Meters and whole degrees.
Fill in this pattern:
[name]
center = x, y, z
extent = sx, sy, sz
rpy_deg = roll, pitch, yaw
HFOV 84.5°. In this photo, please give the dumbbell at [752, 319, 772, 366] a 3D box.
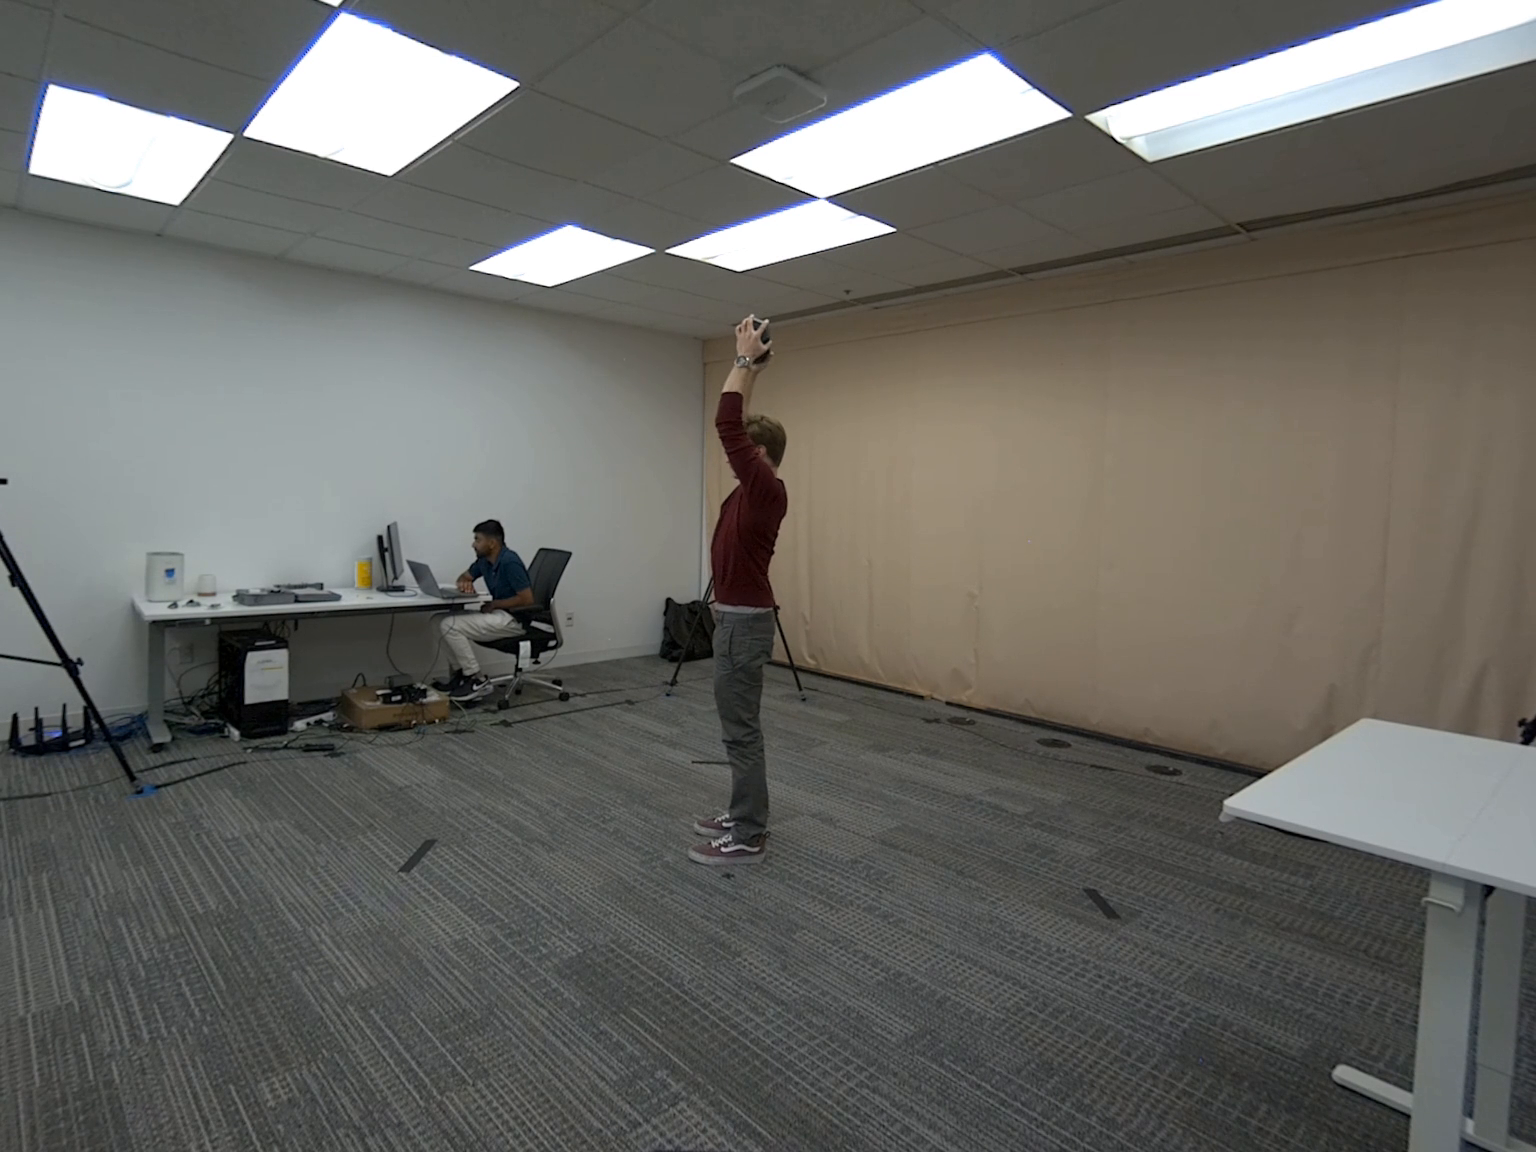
[dumbbell]
center = -0.048, -0.910, 3.274
extent = 0.123, 0.108, 0.293
rpy_deg = 23, 4, 1
